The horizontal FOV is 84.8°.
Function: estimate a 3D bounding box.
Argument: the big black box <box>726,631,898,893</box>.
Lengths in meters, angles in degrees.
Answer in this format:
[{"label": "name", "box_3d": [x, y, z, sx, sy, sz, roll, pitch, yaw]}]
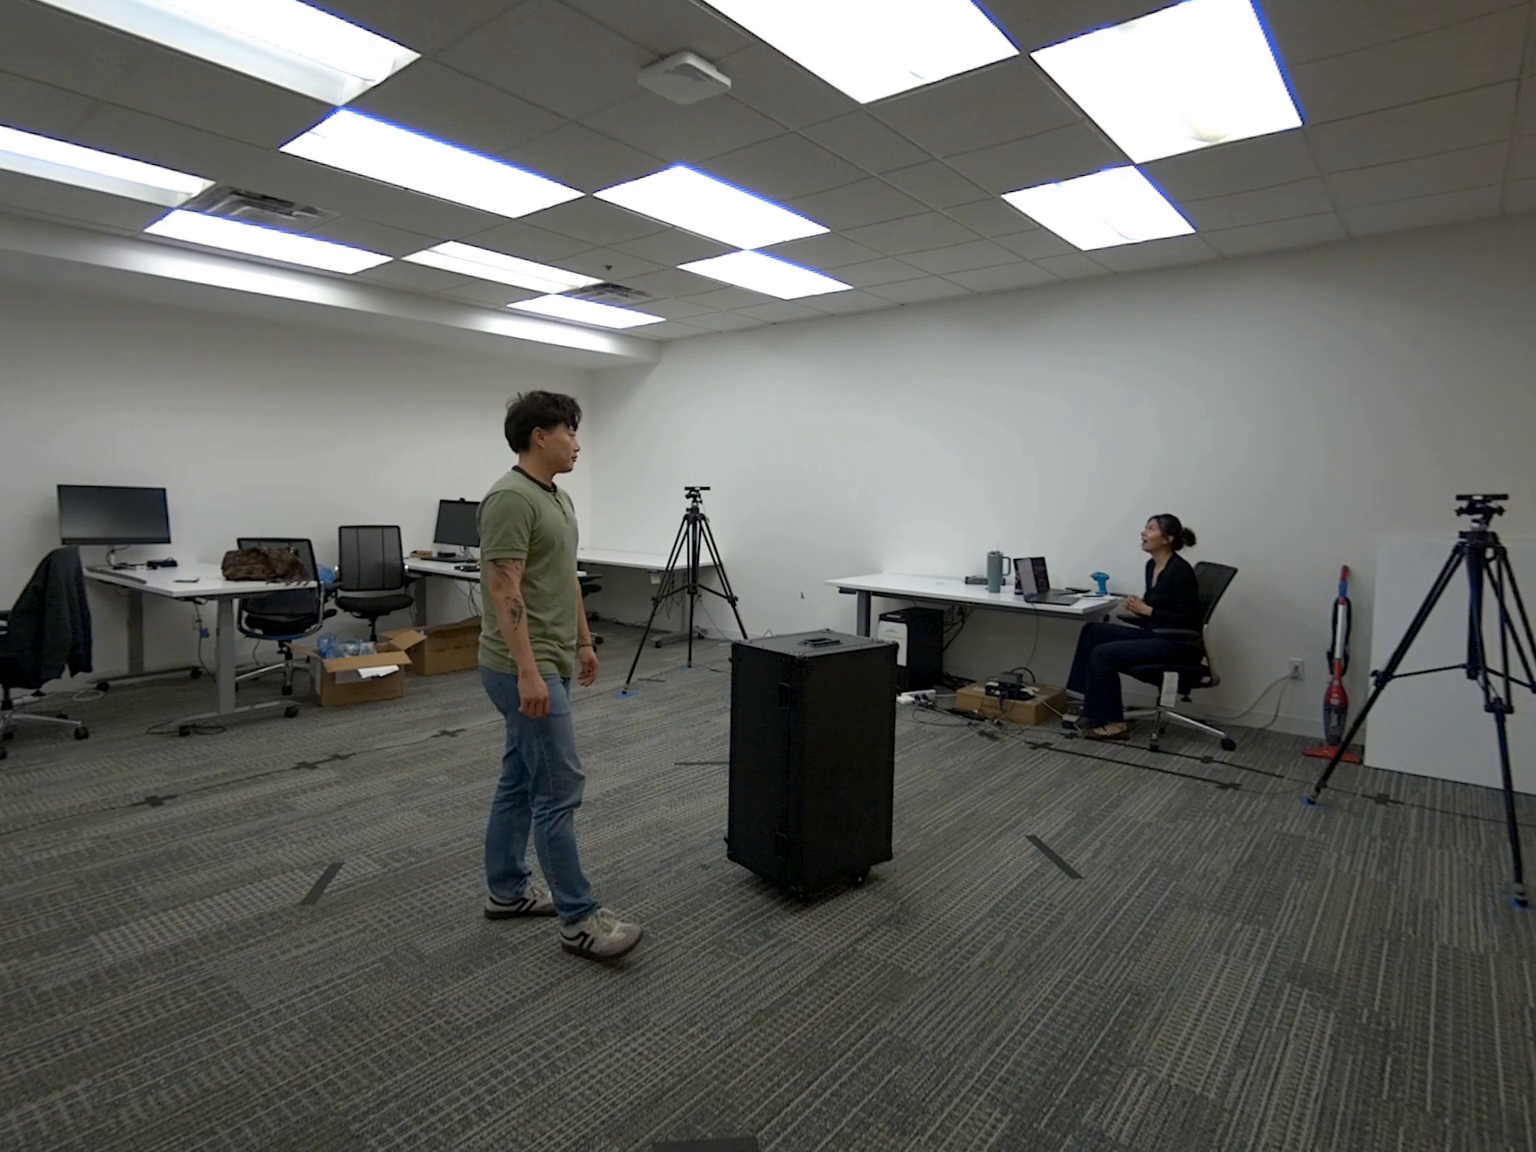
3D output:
[{"label": "big black box", "box_3d": [0.140, 0.657, 3.028, 0.505, 0.859, 0.409, -2, 4, -40]}]
